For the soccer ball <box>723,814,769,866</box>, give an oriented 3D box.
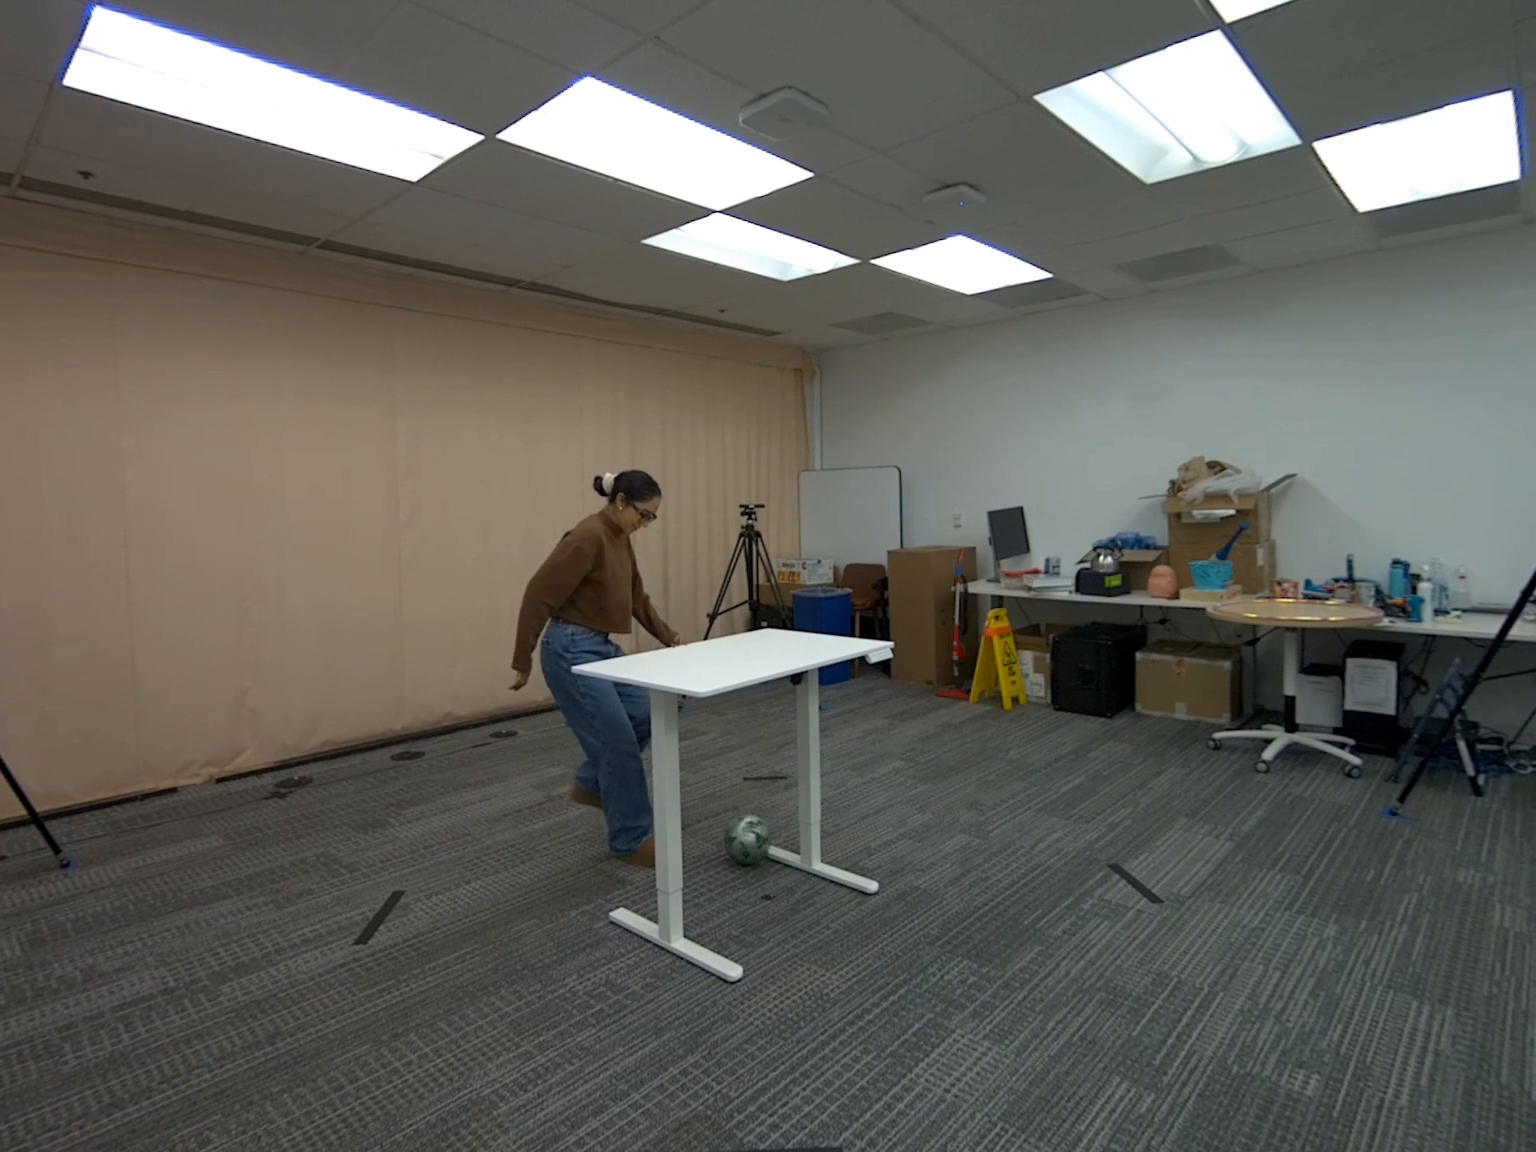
[{"bbox_3d":[-0.090,1.026,3.269,0.187,0.187,0.188,-1,4,-2],"label":"soccer ball"}]
